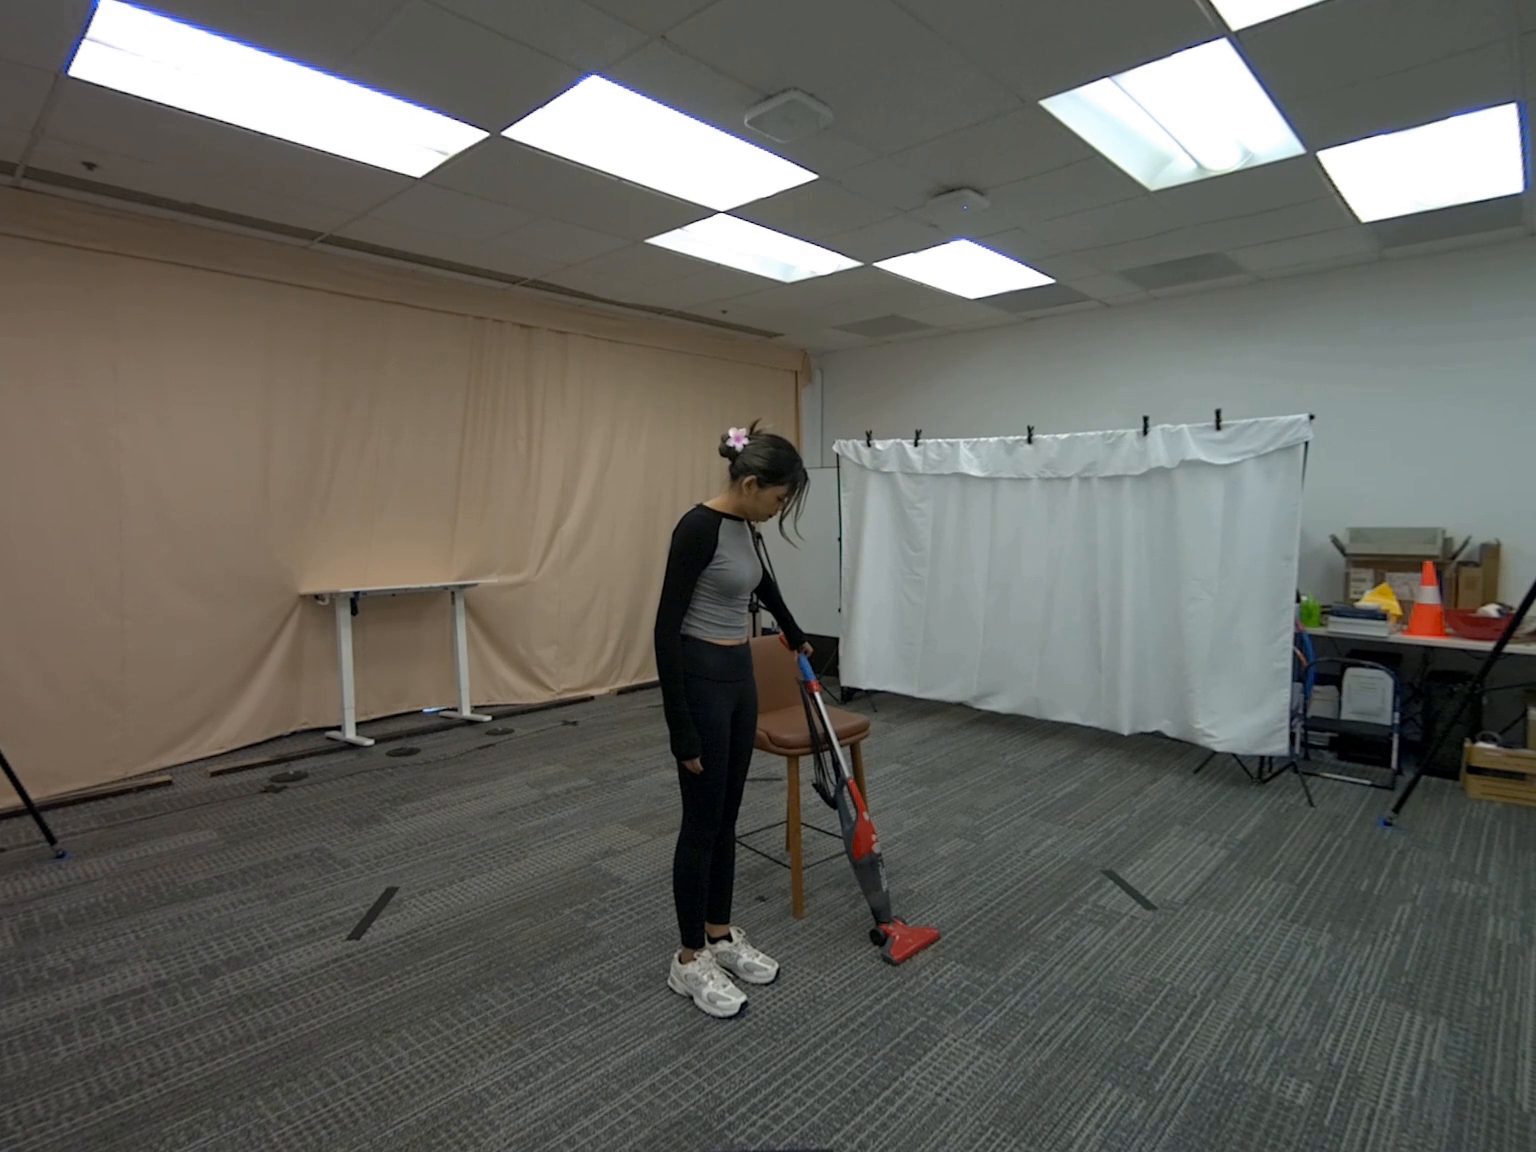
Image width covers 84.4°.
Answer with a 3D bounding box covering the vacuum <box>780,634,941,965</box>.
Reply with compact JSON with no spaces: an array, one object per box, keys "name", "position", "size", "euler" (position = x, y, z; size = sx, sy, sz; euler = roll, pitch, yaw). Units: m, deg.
[{"name":"vacuum","position":[0.261,0.693,2.830],"size":[0.244,1.067,0.146],"euler":[-1,-26,-47]}]
